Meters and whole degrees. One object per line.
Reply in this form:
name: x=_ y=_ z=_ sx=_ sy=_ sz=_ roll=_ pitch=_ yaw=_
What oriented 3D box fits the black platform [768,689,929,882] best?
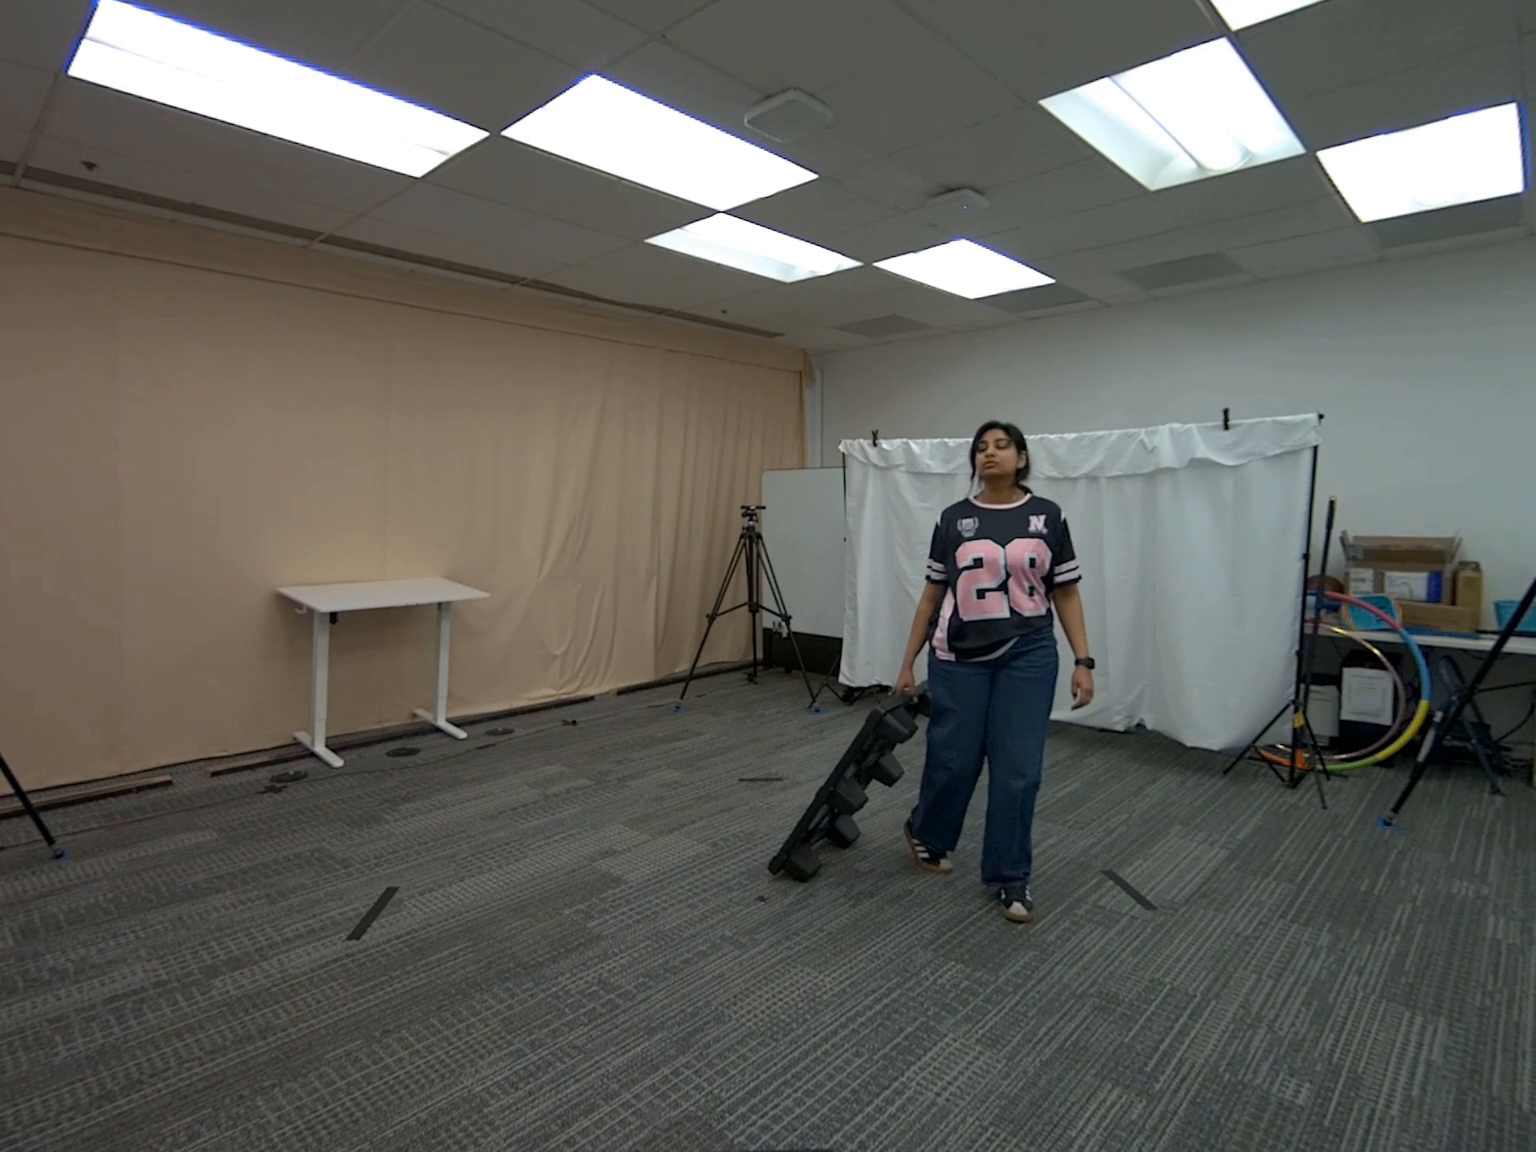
black platform: x=0.369 y=0.780 z=3.213 sx=0.147 sy=0.805 sz=0.588 roll=39 pitch=21 yaw=24
